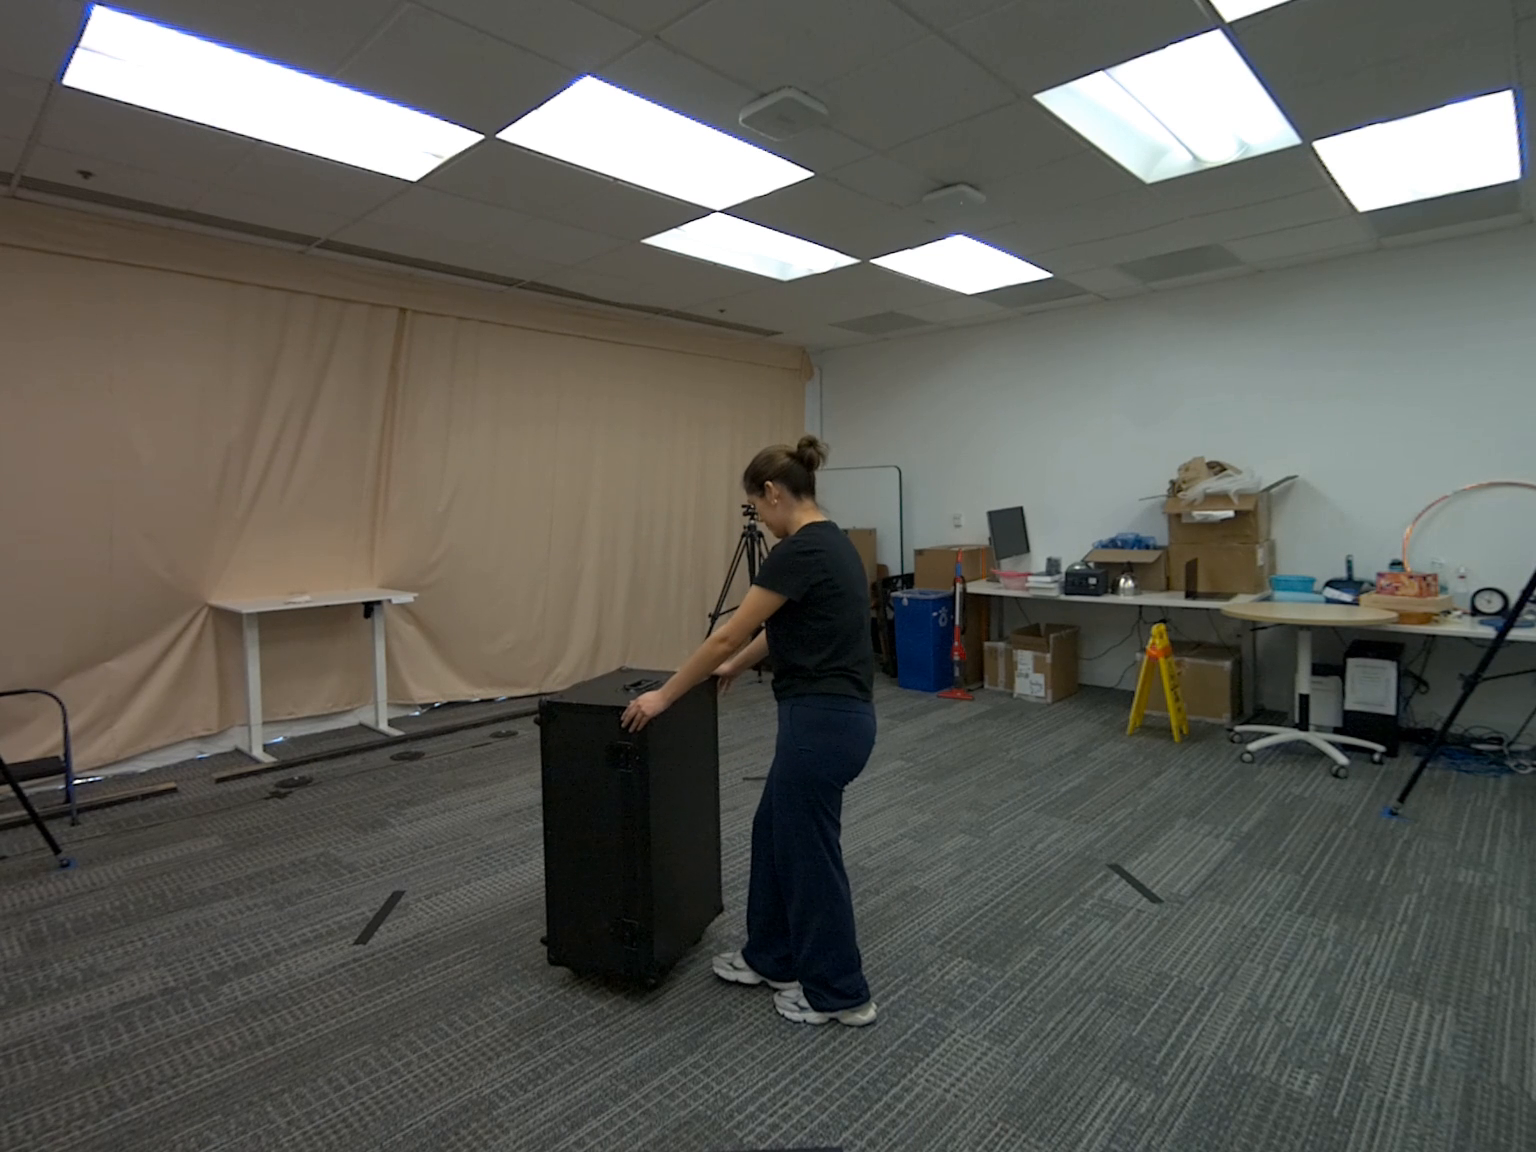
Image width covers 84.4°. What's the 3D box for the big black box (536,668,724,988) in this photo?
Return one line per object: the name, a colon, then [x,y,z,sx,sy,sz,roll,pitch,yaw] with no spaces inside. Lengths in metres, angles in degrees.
big black box: [-0.399,0.754,2.580,0.405,0.860,0.510,0,3,22]
